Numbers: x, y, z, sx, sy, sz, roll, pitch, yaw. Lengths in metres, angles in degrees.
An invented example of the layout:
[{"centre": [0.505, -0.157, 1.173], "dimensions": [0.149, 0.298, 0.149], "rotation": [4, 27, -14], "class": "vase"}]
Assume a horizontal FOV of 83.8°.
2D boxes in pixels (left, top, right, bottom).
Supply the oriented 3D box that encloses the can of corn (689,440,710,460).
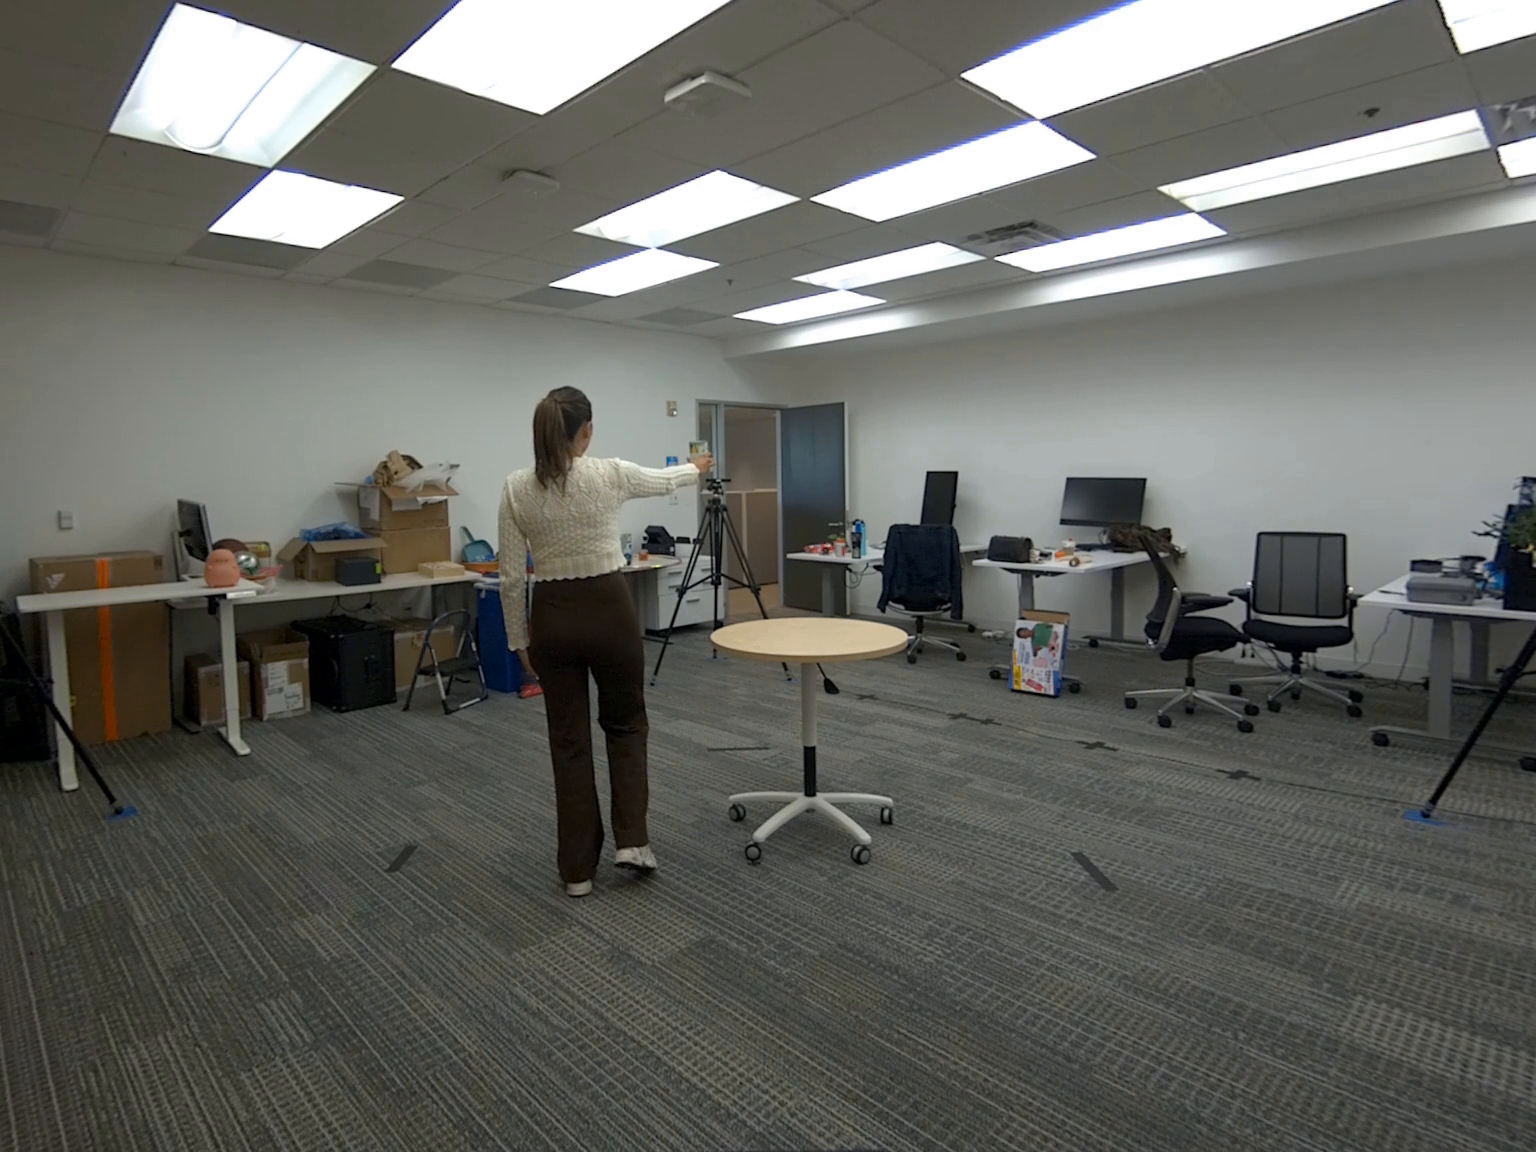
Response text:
[{"centre": [-0.281, -0.494, 3.479], "dimensions": [0.074, 0.110, 0.075], "rotation": [-4, 9, -1], "class": "can of corn"}]
